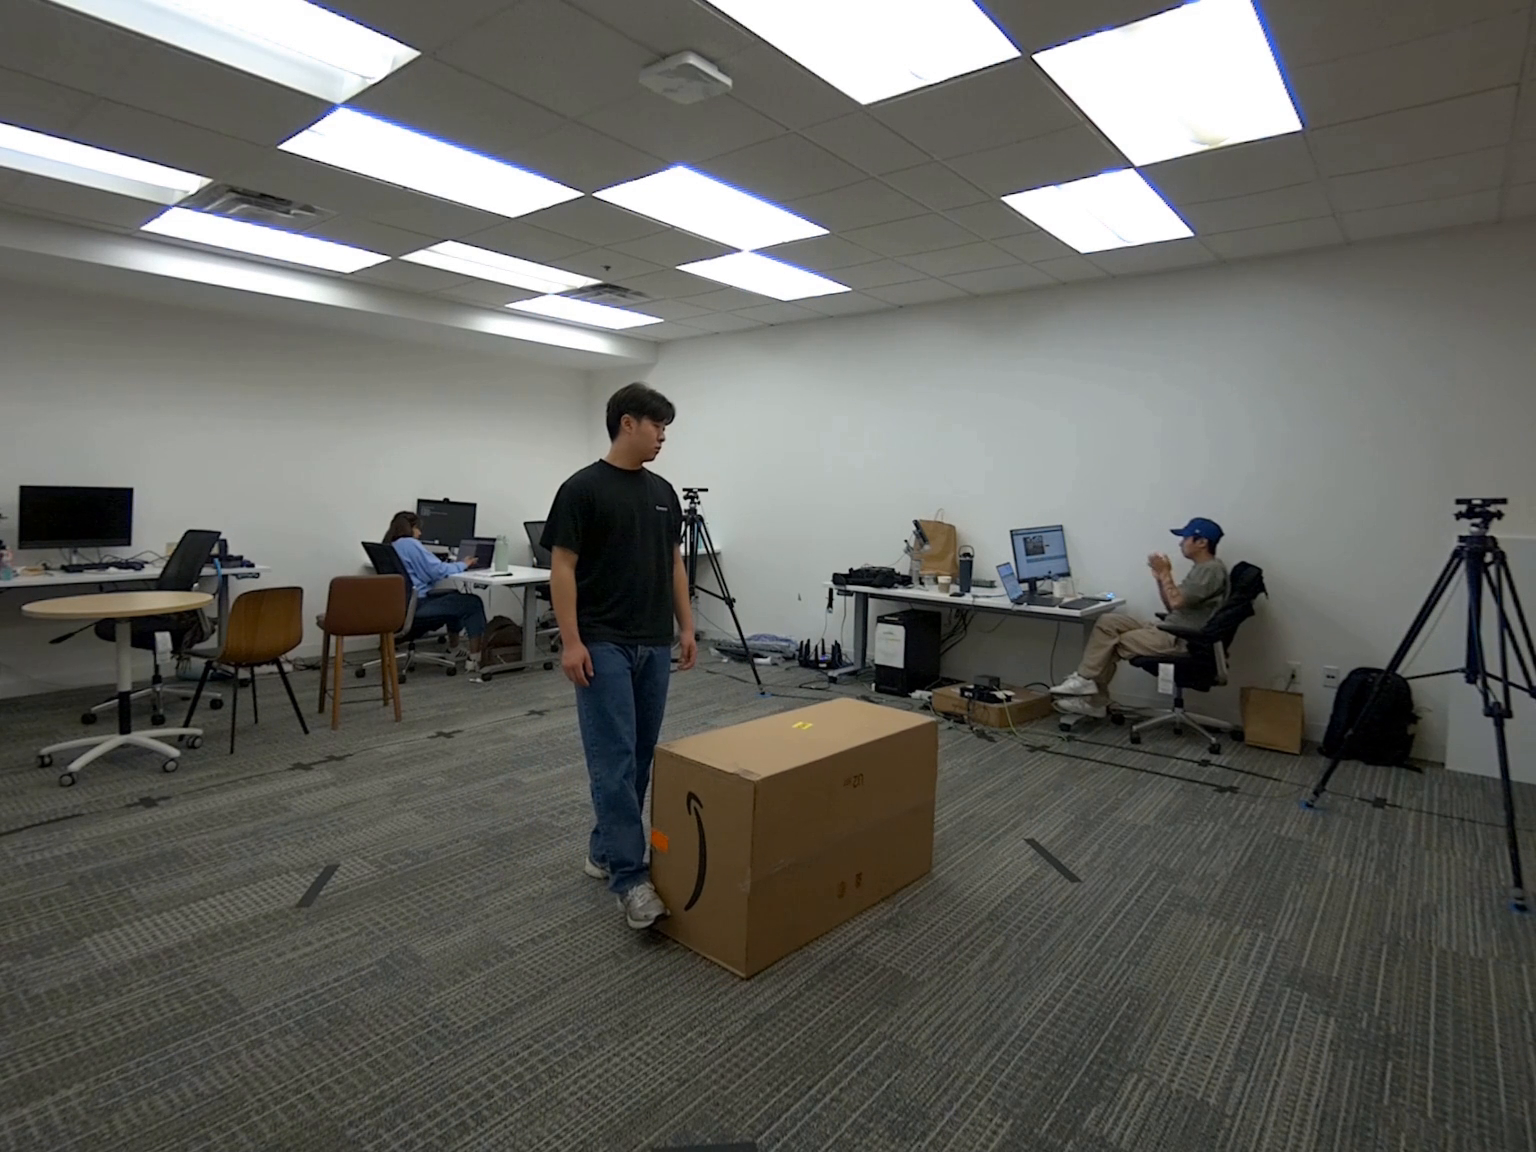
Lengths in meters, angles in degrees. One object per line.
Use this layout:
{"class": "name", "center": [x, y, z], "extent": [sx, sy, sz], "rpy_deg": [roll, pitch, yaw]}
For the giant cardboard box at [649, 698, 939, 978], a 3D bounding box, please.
{"class": "giant cardboard box", "center": [0.114, 0.811, 2.901], "extent": [0.462, 0.582, 0.996], "rpy_deg": [4, 5, 41]}
